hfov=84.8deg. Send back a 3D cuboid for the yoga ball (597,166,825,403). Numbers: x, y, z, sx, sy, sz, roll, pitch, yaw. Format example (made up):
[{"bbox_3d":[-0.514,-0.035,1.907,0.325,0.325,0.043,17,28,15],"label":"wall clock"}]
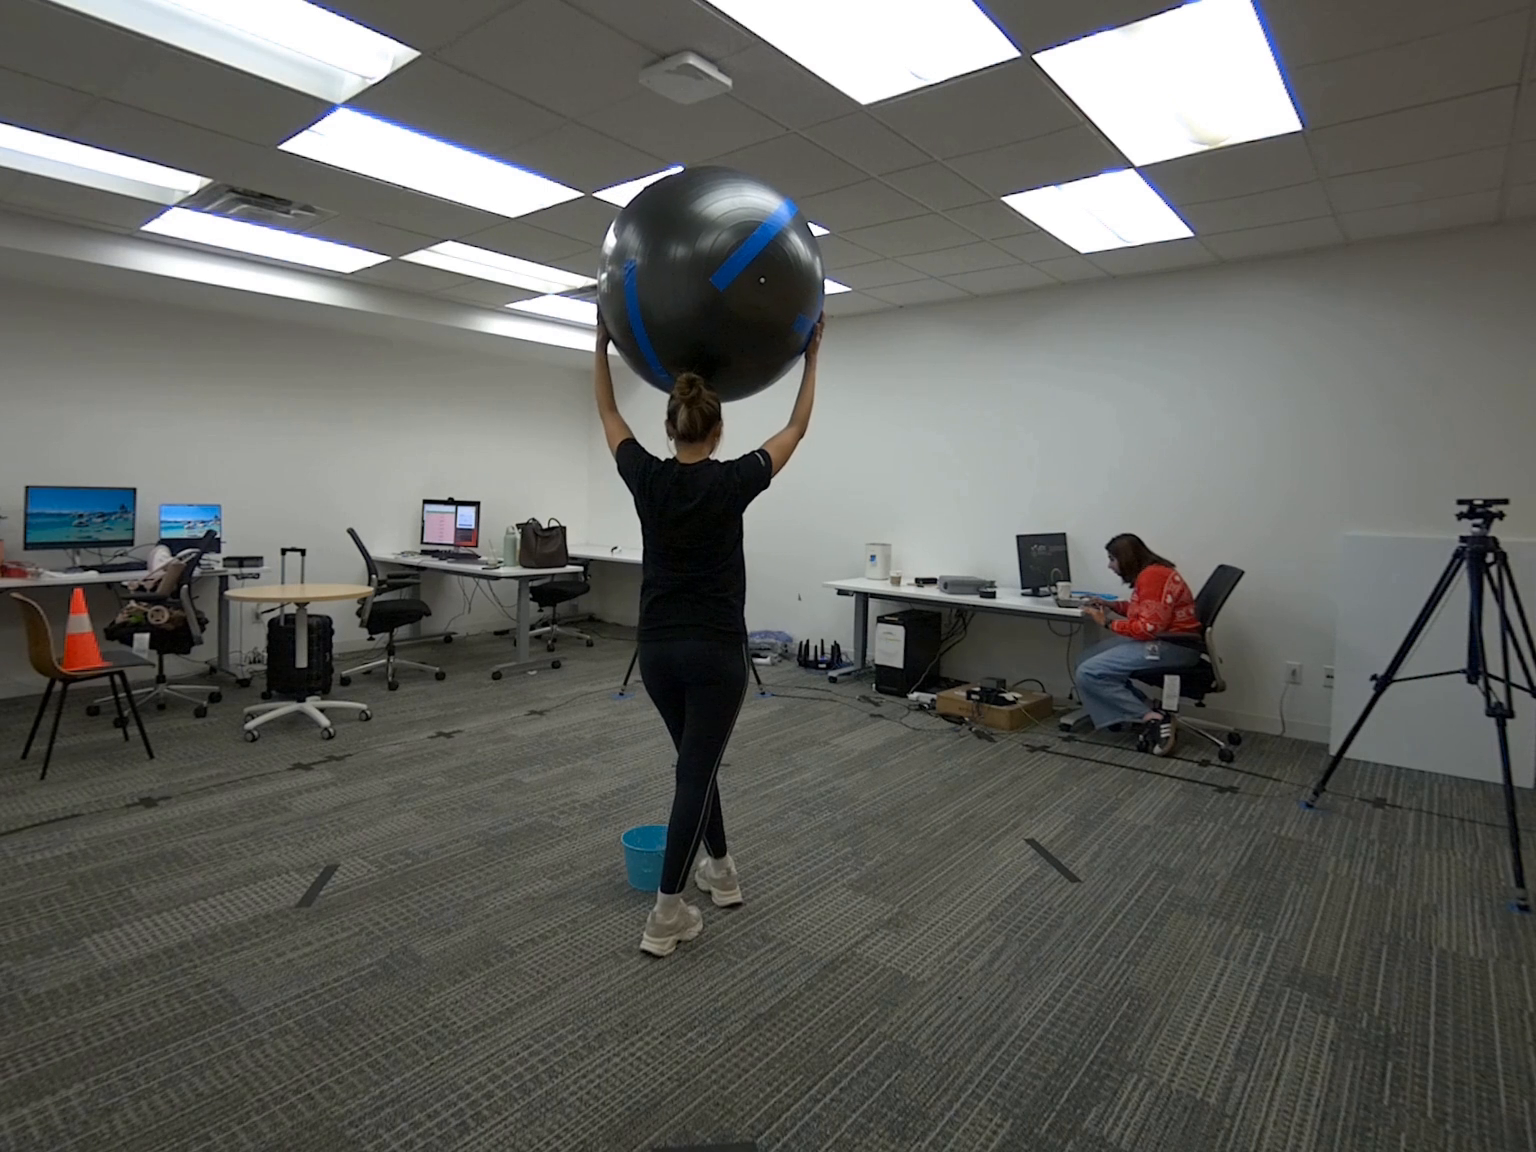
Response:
[{"bbox_3d":[-0.198,-0.958,2.846,0.757,0.755,0.762,1,4,-2],"label":"yoga ball"}]
